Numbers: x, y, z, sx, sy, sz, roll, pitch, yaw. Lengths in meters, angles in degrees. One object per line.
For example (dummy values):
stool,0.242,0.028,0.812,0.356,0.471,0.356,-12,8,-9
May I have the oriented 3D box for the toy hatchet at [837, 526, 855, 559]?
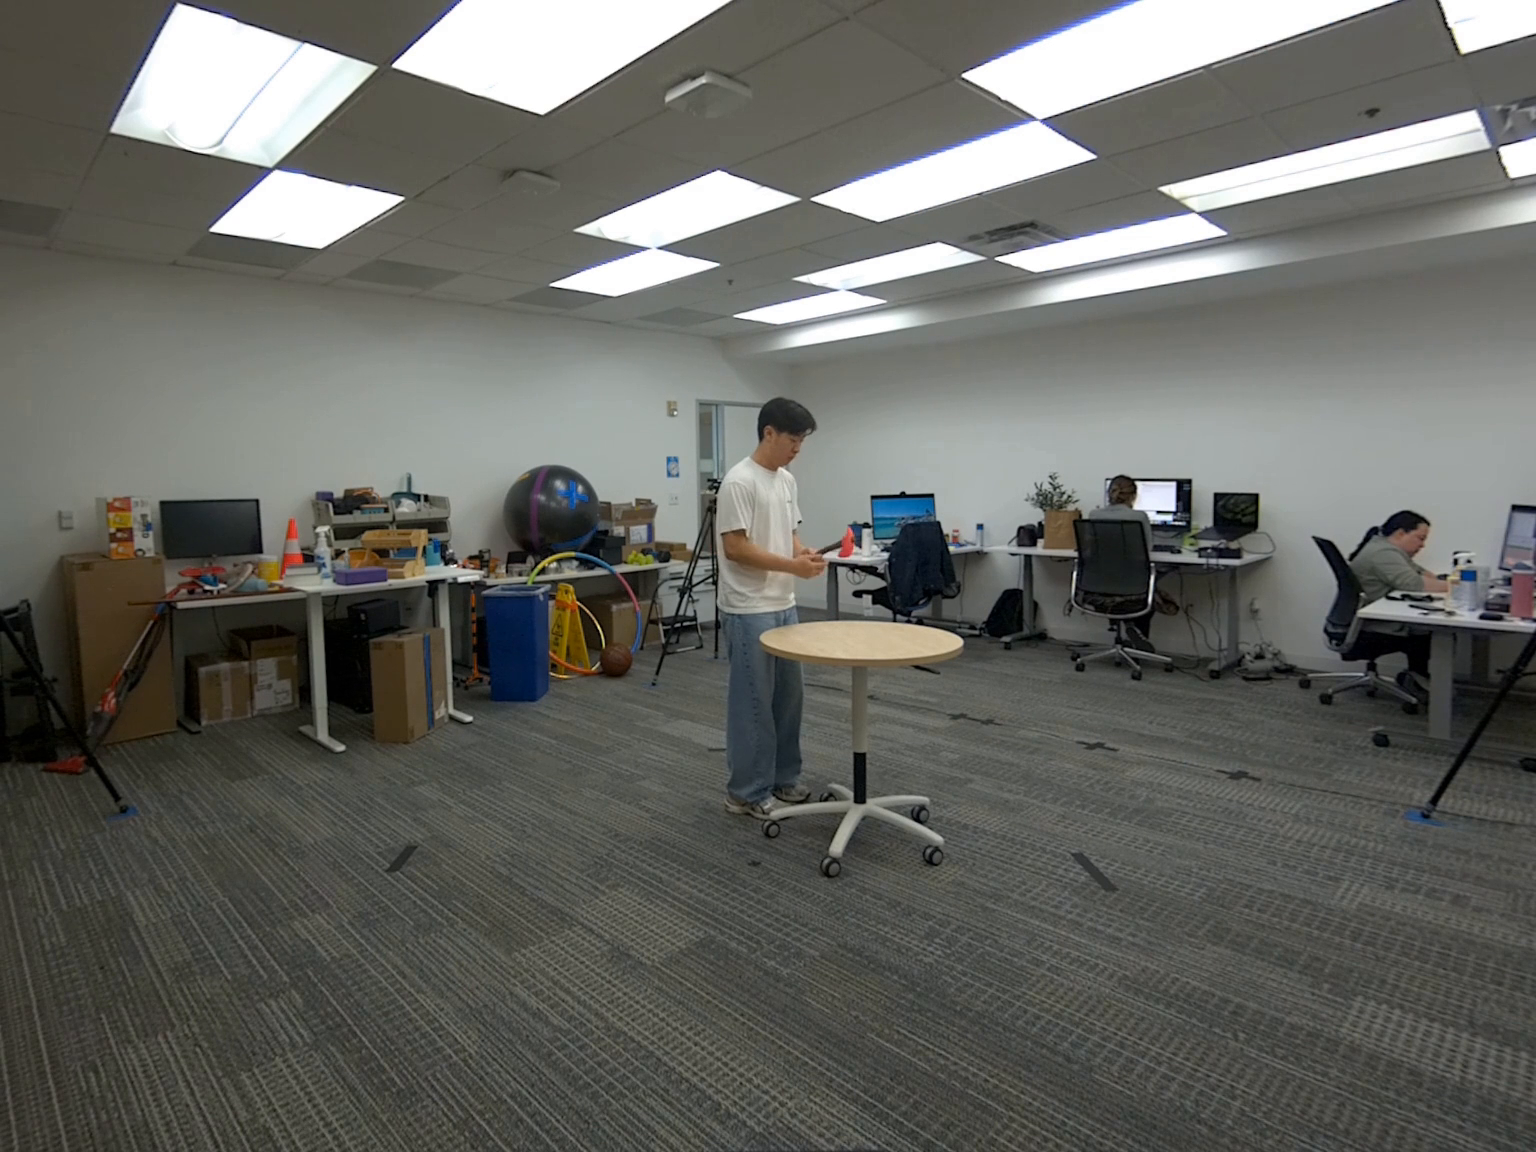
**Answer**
toy hatchet,0.236,-0.043,3.401,0.028,0.135,0.271,25,-50,-37
